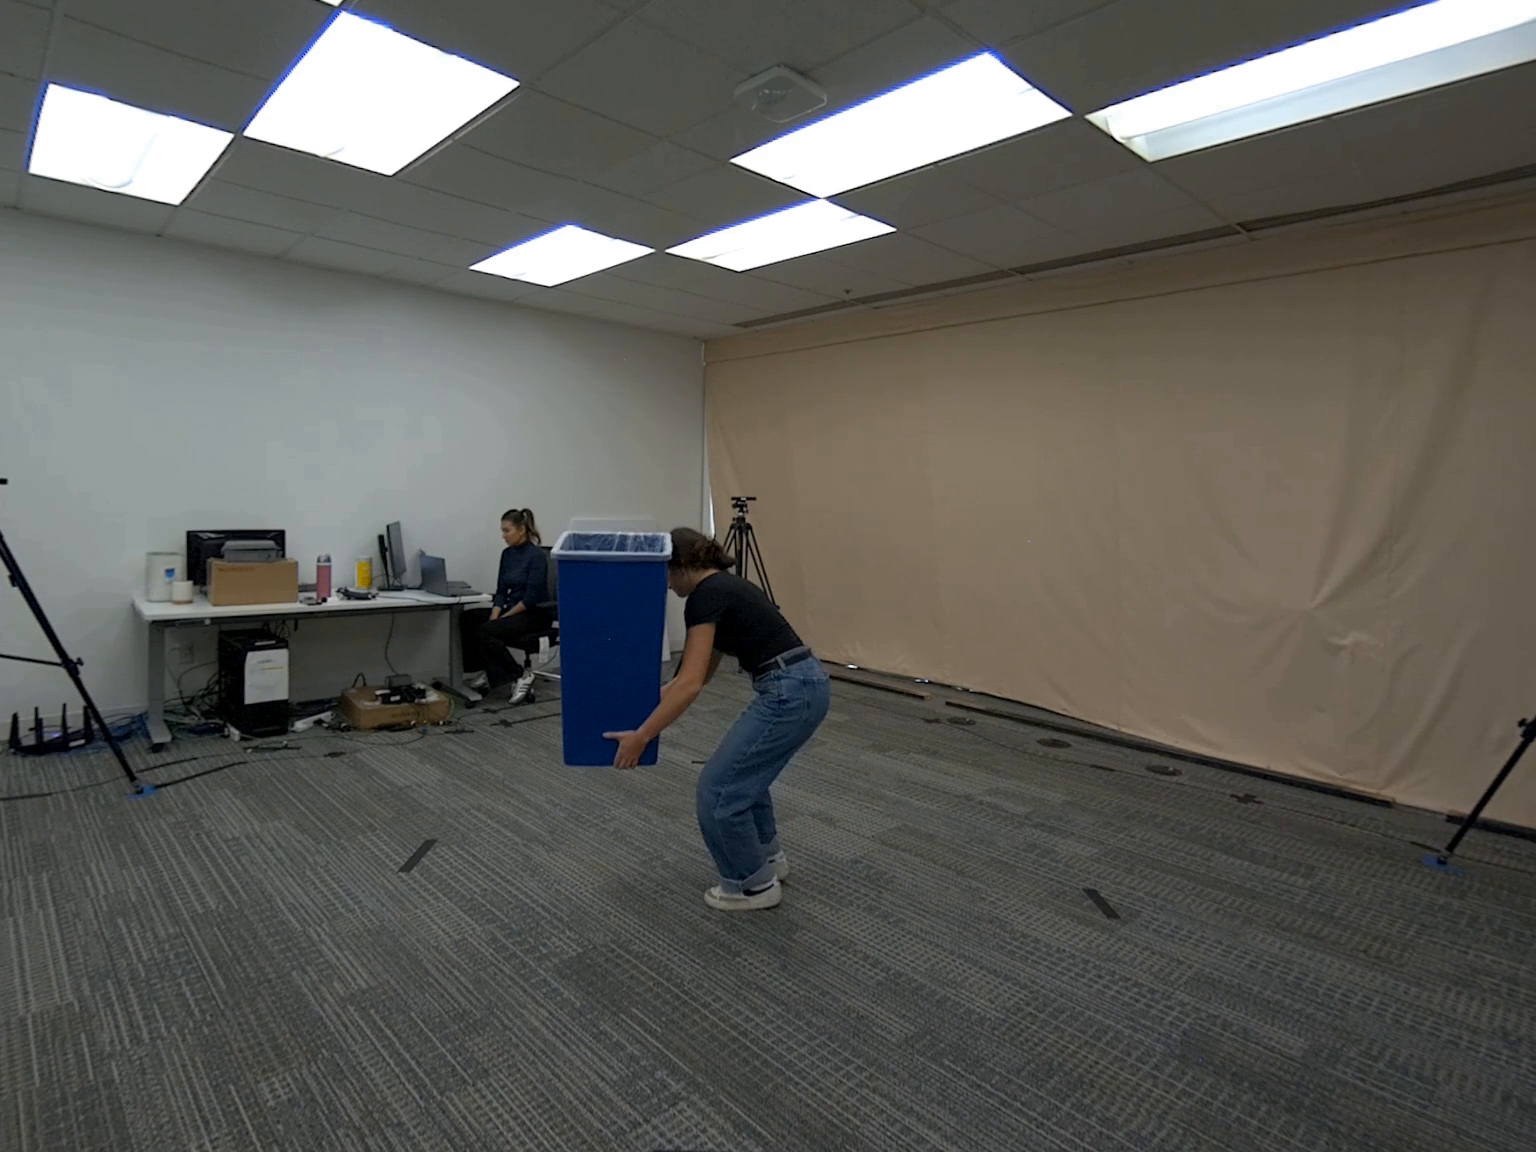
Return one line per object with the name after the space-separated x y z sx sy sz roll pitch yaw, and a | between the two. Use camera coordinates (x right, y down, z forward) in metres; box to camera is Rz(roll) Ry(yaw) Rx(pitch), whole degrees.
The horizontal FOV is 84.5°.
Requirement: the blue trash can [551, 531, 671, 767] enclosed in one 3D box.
-0.516 0.236 2.799 0.377 0.708 0.378 1 10 -4 | blue trash can
